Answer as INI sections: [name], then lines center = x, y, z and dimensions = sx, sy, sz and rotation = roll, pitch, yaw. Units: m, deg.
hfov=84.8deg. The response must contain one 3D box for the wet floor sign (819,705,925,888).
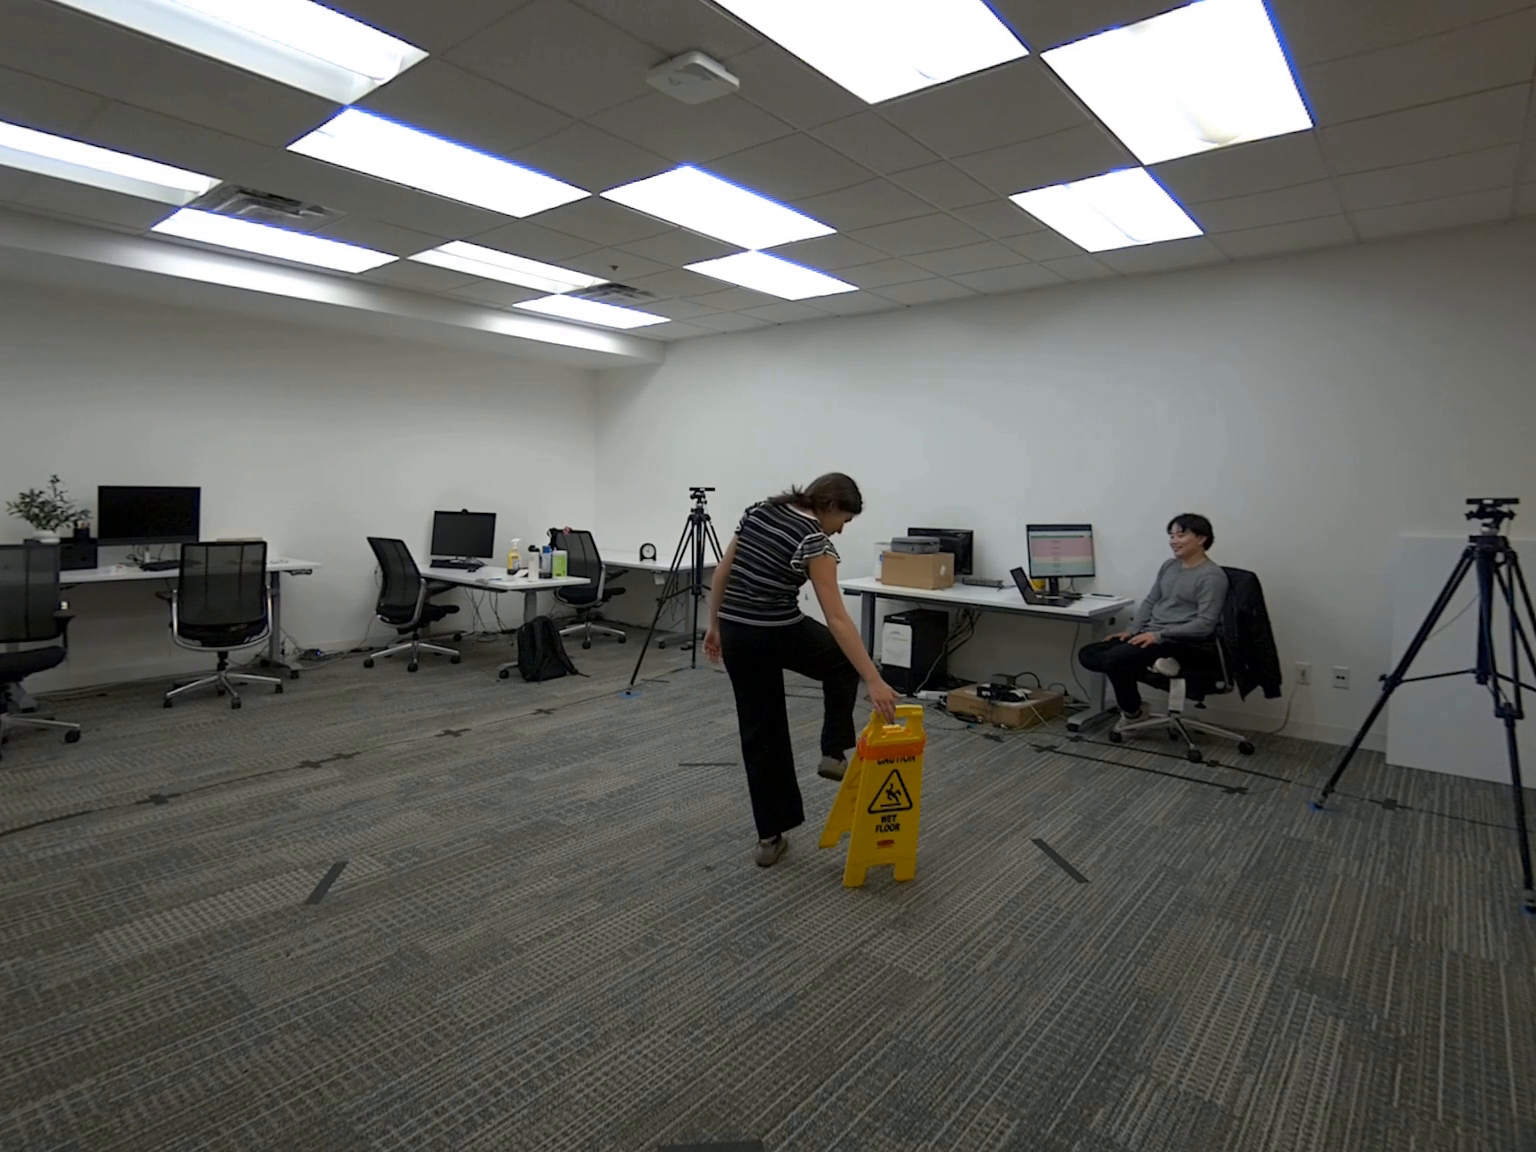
[wet floor sign]
center = 0.393, 0.750, 3.011
dimensions = 0.276, 0.636, 0.300
rotation = 0, 21, -21
